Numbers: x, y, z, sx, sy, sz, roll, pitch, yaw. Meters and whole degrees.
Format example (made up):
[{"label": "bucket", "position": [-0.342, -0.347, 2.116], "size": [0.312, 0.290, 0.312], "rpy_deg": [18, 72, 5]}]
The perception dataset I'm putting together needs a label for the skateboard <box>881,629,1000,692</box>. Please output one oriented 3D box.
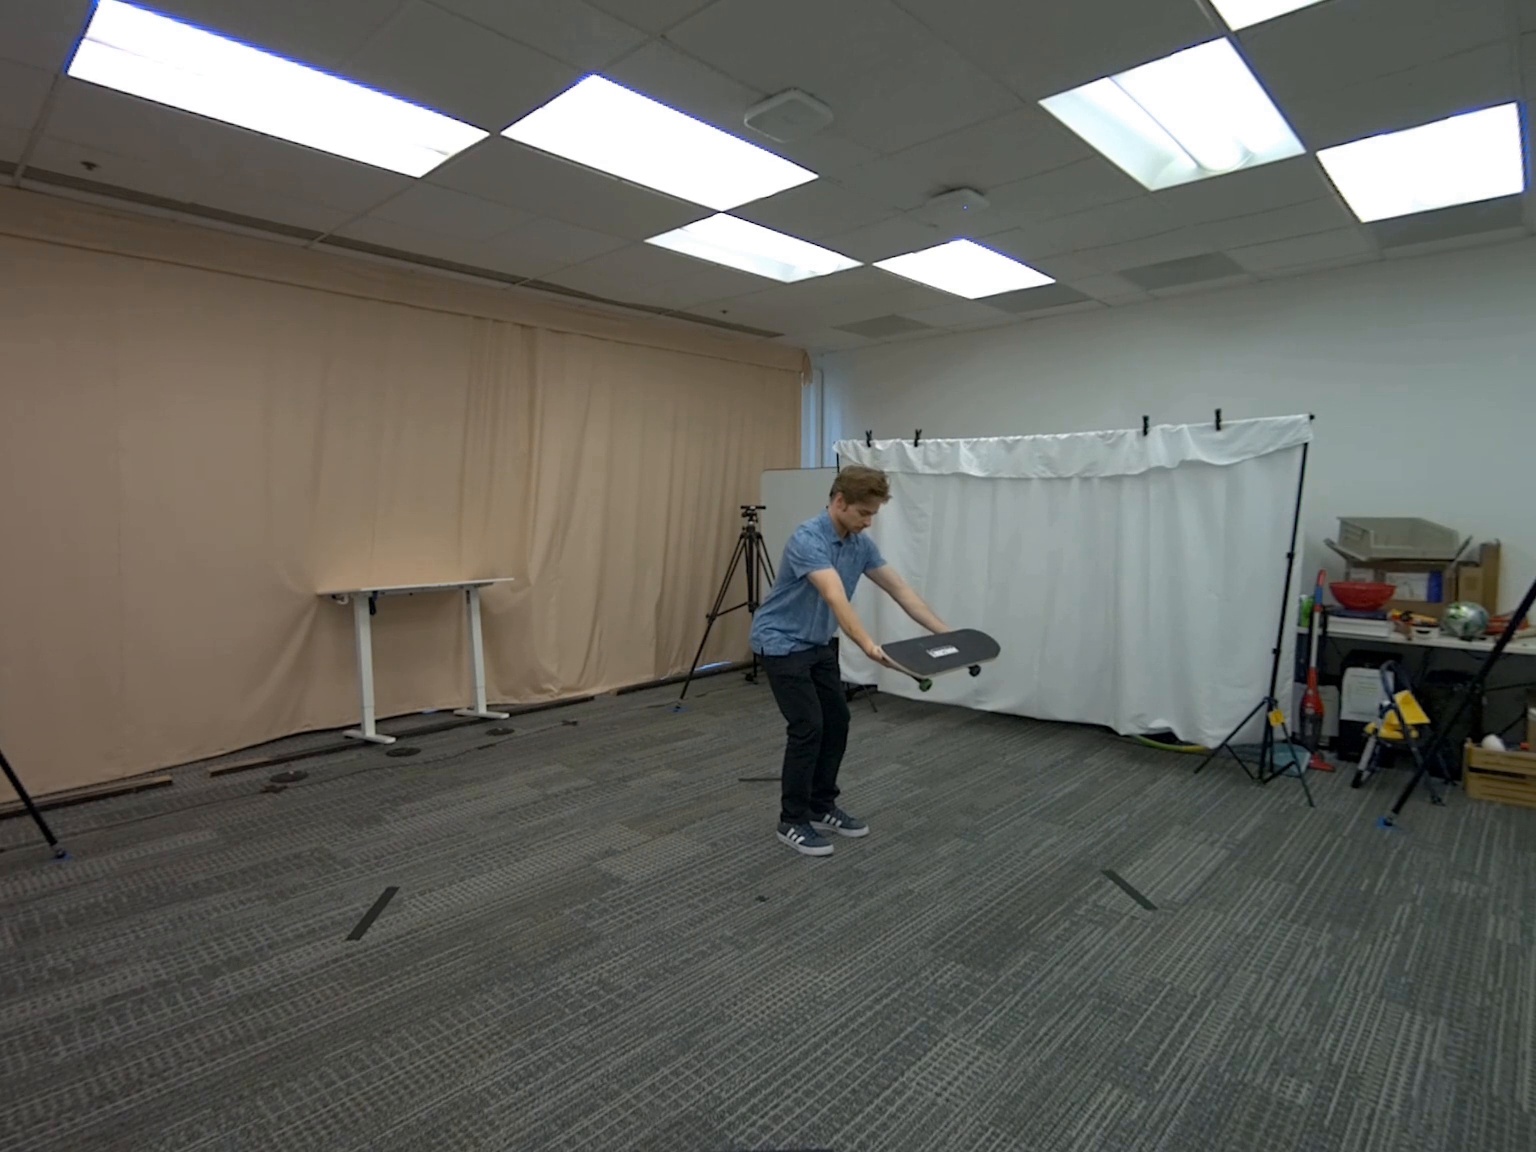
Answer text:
[{"label": "skateboard", "position": [0.646, 0.315, 3.156], "size": [0.200, 0.110, 0.761], "rpy_deg": [40, 26, 31]}]
